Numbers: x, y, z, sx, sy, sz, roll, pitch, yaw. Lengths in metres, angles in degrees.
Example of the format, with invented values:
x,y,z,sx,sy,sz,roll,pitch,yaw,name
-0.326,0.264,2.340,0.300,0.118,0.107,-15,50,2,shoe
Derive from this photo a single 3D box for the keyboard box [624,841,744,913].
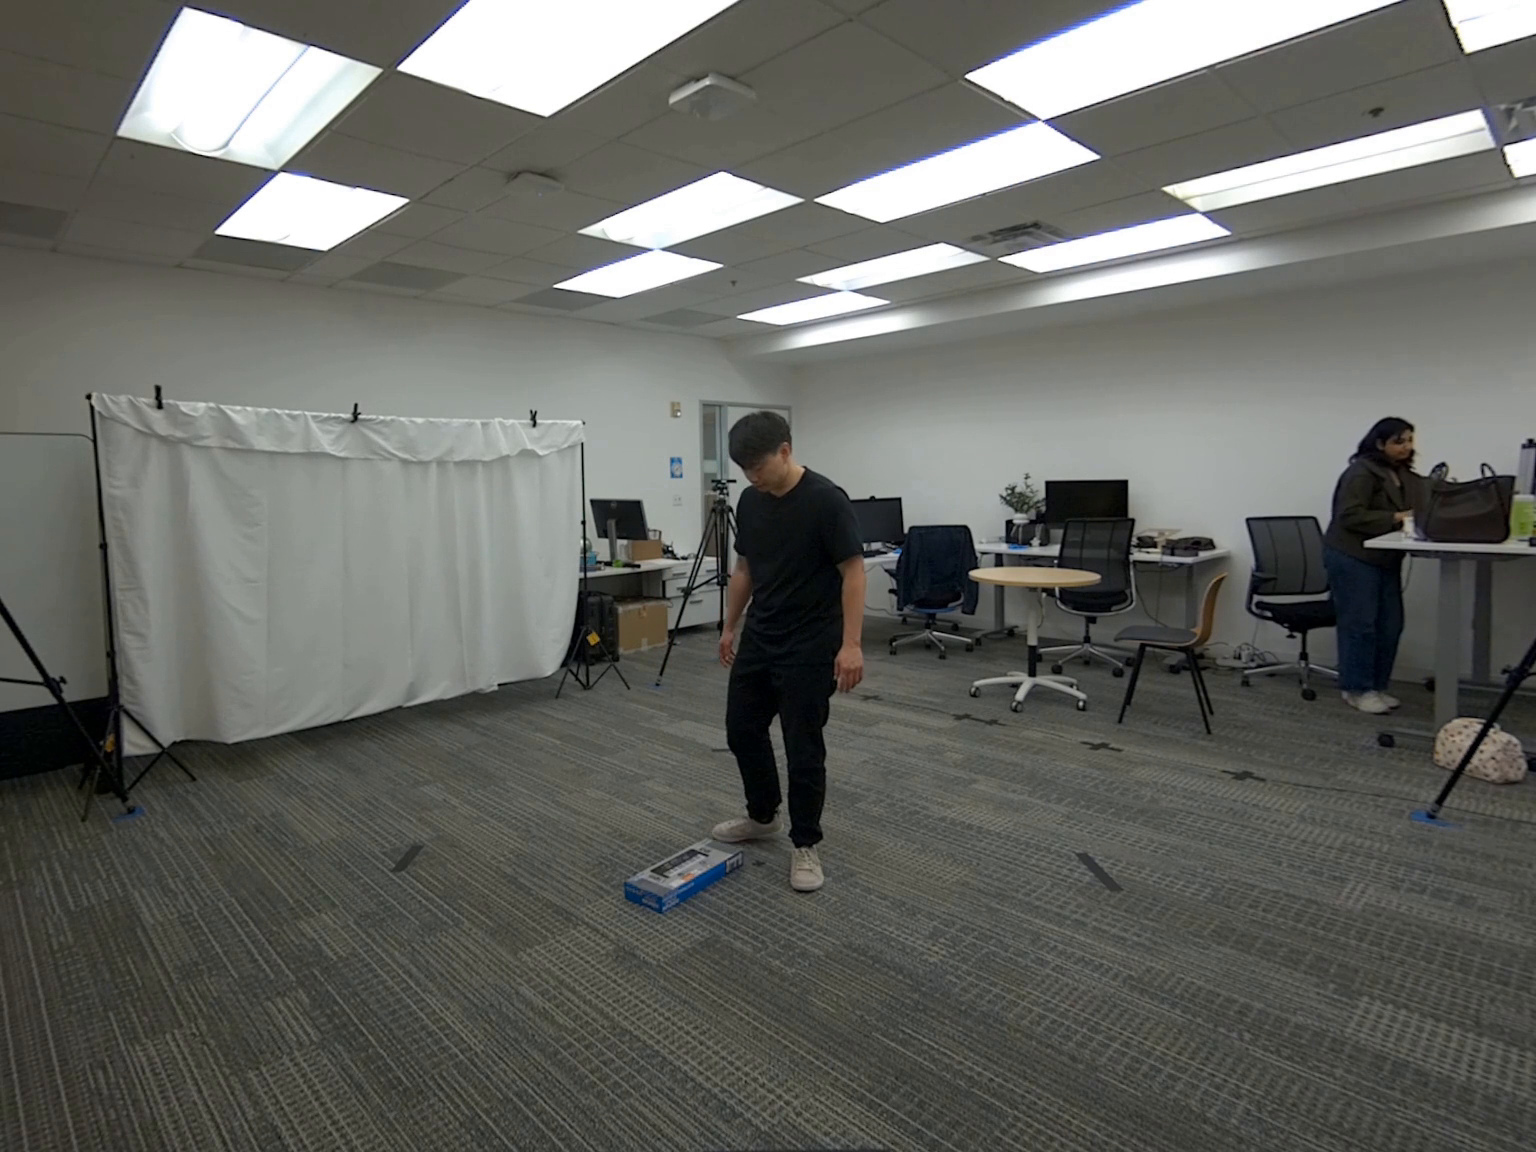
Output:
x,y,z,sx,sy,sz,roll,pitch,yaw,name
-0.284,1.037,2.977,0.181,0.059,0.426,4,8,37,keyboard box
